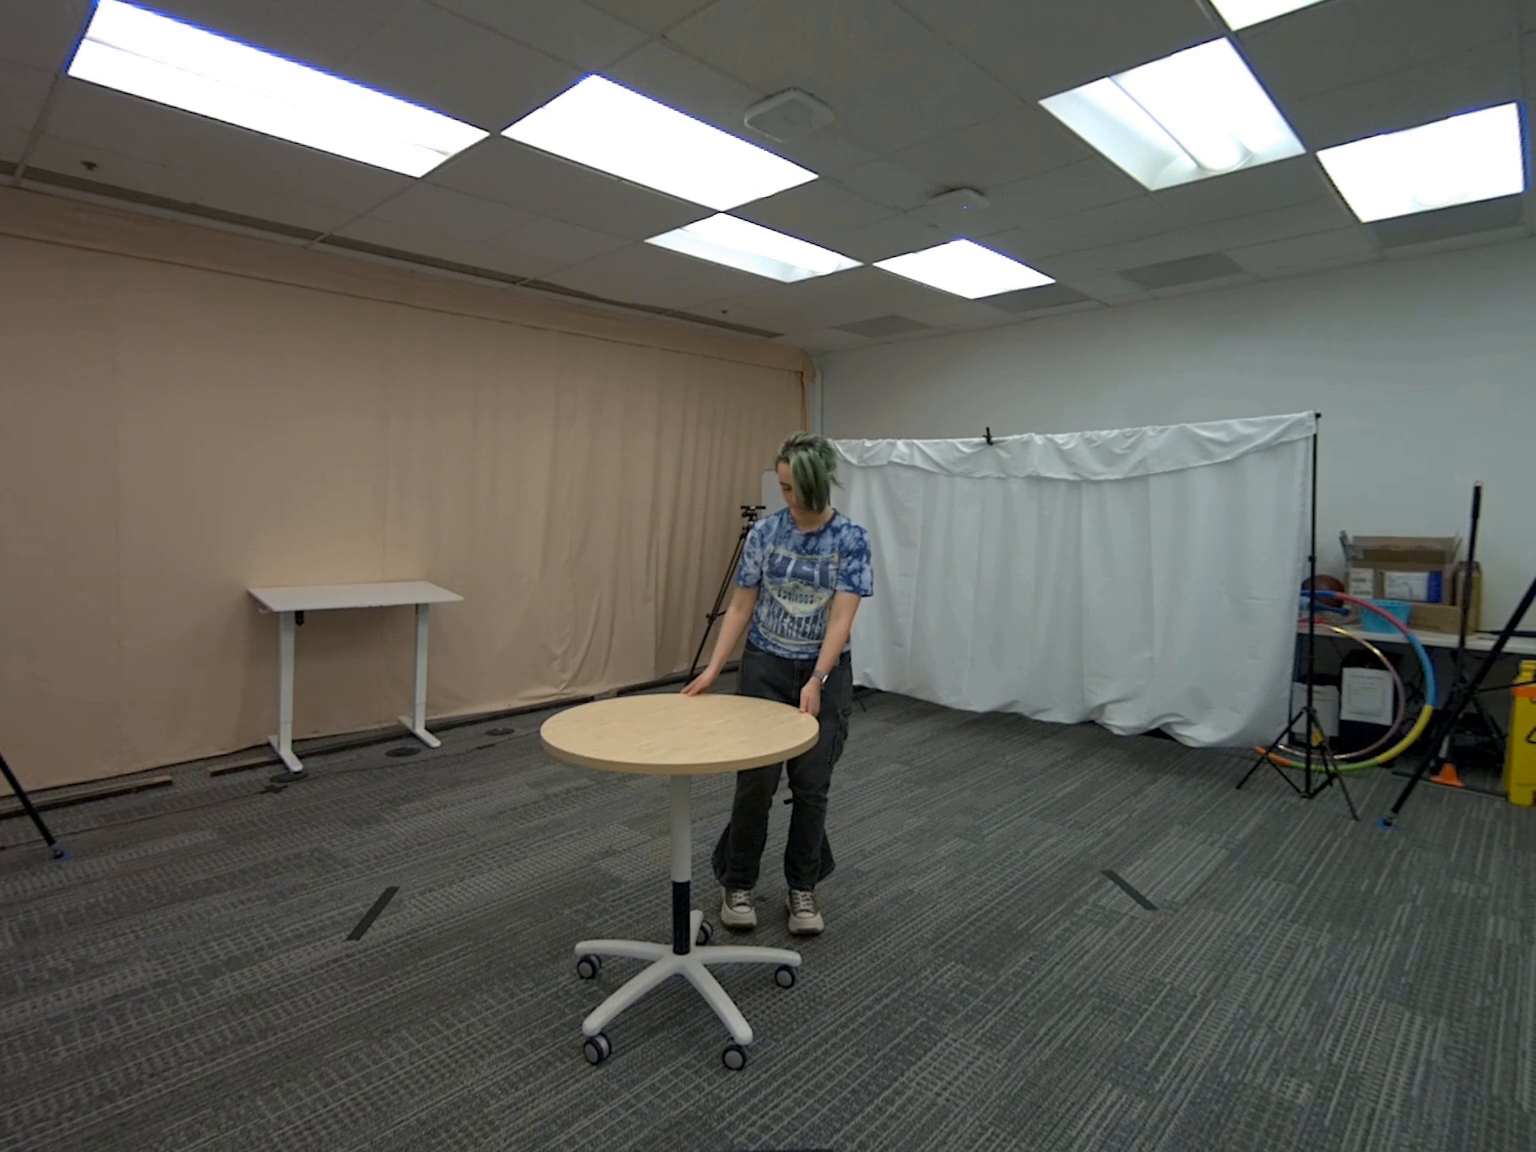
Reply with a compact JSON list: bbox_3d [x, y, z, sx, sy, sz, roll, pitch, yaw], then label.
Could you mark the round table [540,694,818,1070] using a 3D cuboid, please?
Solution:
[{"bbox_3d":[-0.253,0.809,2.353,0.763,0.792,0.767,-1,4,-2],"label":"round table"}]
